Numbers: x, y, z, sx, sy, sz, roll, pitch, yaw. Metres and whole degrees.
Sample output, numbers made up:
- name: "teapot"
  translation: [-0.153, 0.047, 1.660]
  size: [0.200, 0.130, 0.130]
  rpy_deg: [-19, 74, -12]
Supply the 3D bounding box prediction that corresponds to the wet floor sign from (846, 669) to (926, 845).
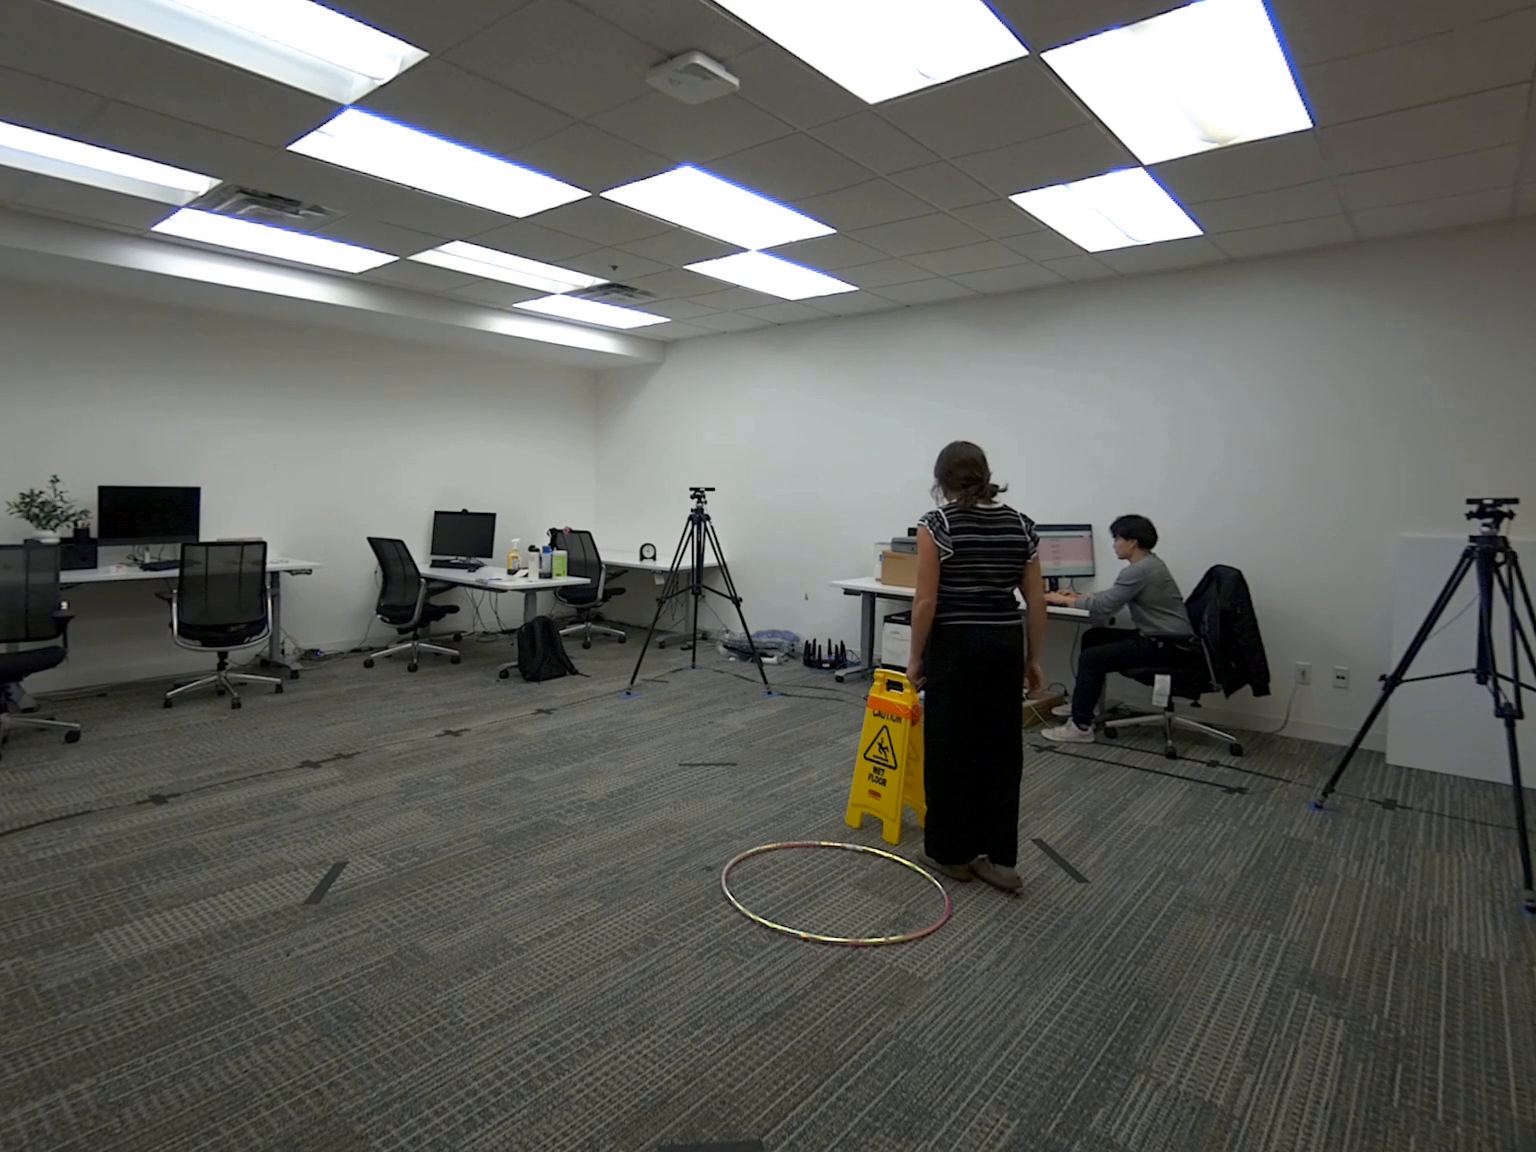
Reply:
- name: "wet floor sign"
  translation: [0.505, 0.715, 3.520]
  size: [0.281, 0.644, 0.292]
  rpy_deg: [-2, 4, -40]
